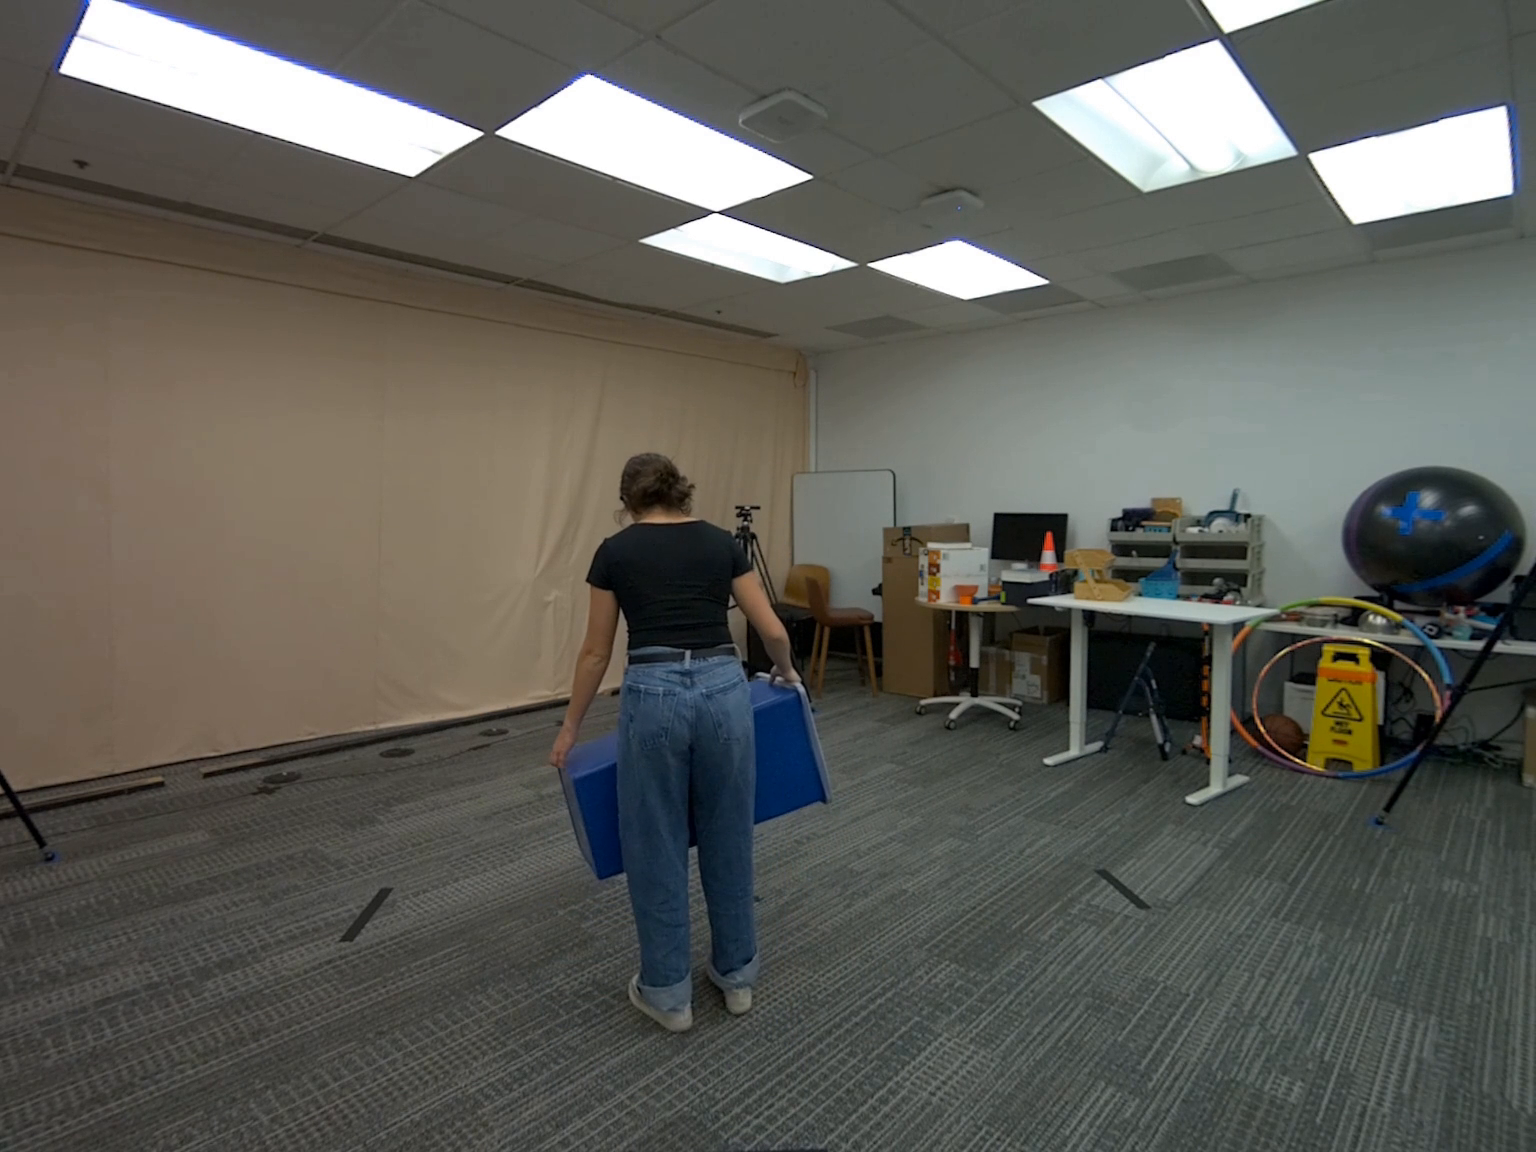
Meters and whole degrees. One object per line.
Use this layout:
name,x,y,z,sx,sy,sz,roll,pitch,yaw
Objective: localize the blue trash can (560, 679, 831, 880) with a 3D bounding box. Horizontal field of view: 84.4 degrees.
blue trash can,-0.228,0.599,2.528,0.703,0.372,0.385,-17,6,-18
